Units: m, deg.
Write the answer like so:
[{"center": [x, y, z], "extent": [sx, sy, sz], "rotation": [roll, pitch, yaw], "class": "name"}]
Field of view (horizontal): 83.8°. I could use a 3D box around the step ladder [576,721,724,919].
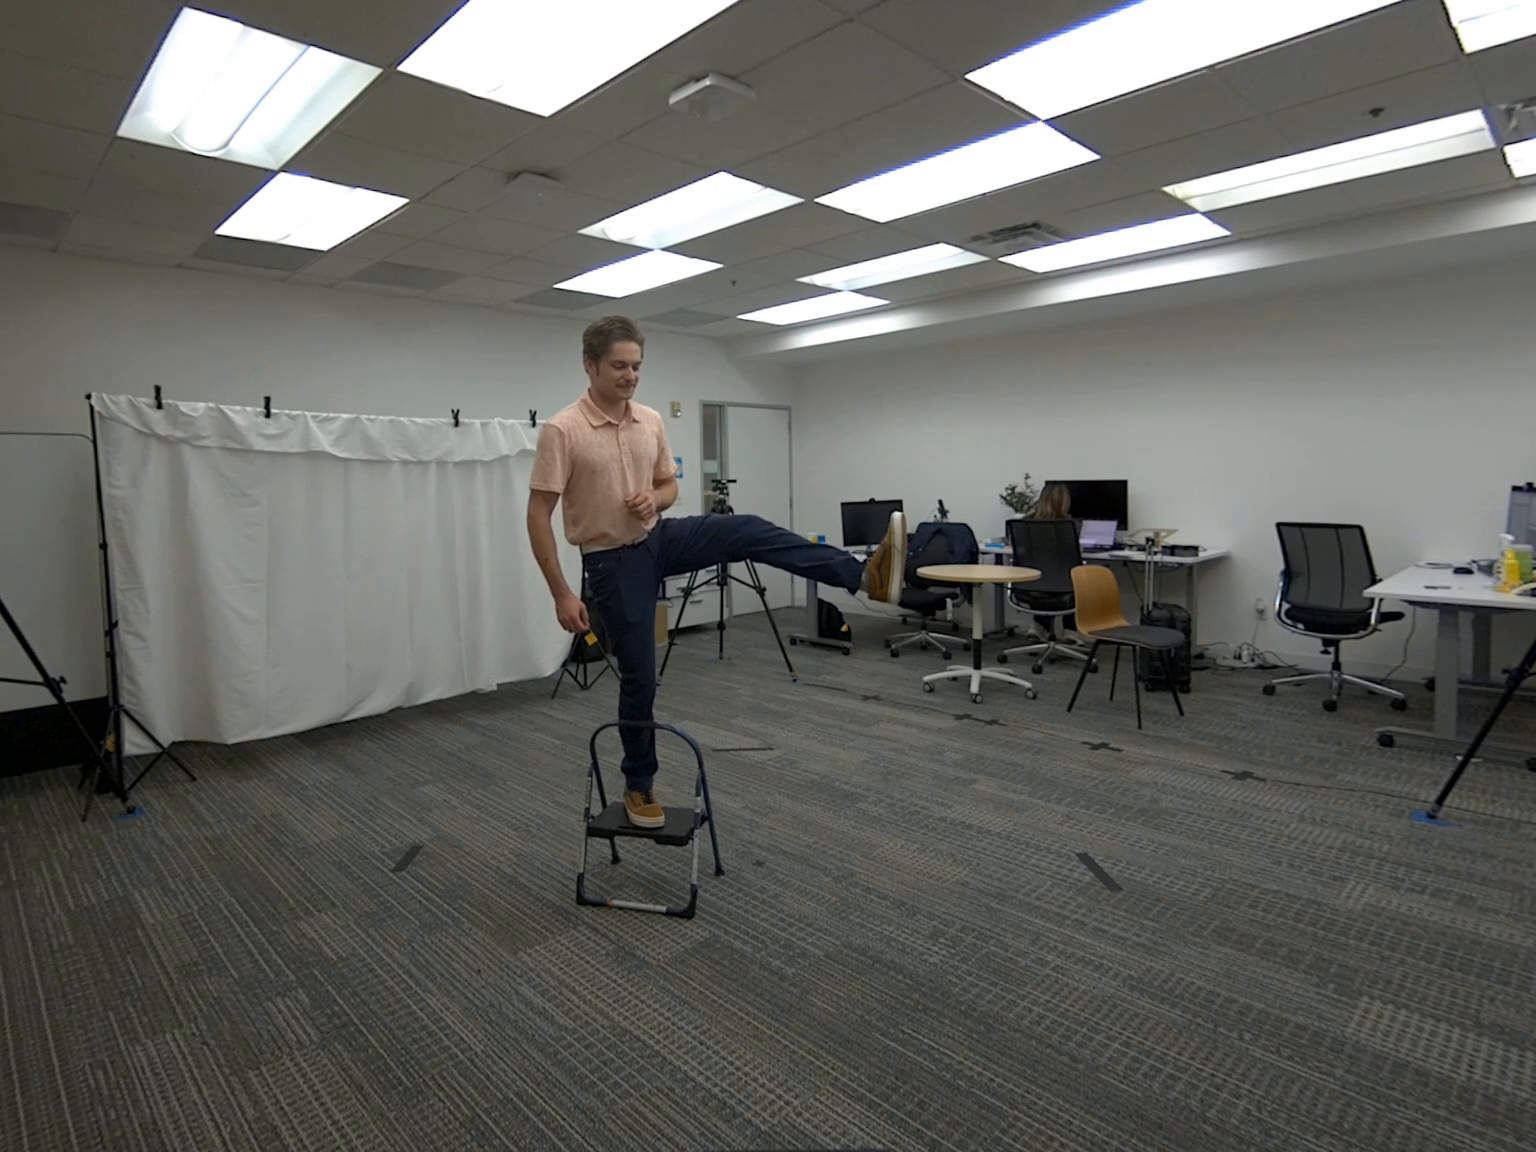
[{"center": [-0.406, 0.776, 2.922], "extent": [0.437, 0.604, 0.346], "rotation": [0, 5, 14], "class": "step ladder"}]
